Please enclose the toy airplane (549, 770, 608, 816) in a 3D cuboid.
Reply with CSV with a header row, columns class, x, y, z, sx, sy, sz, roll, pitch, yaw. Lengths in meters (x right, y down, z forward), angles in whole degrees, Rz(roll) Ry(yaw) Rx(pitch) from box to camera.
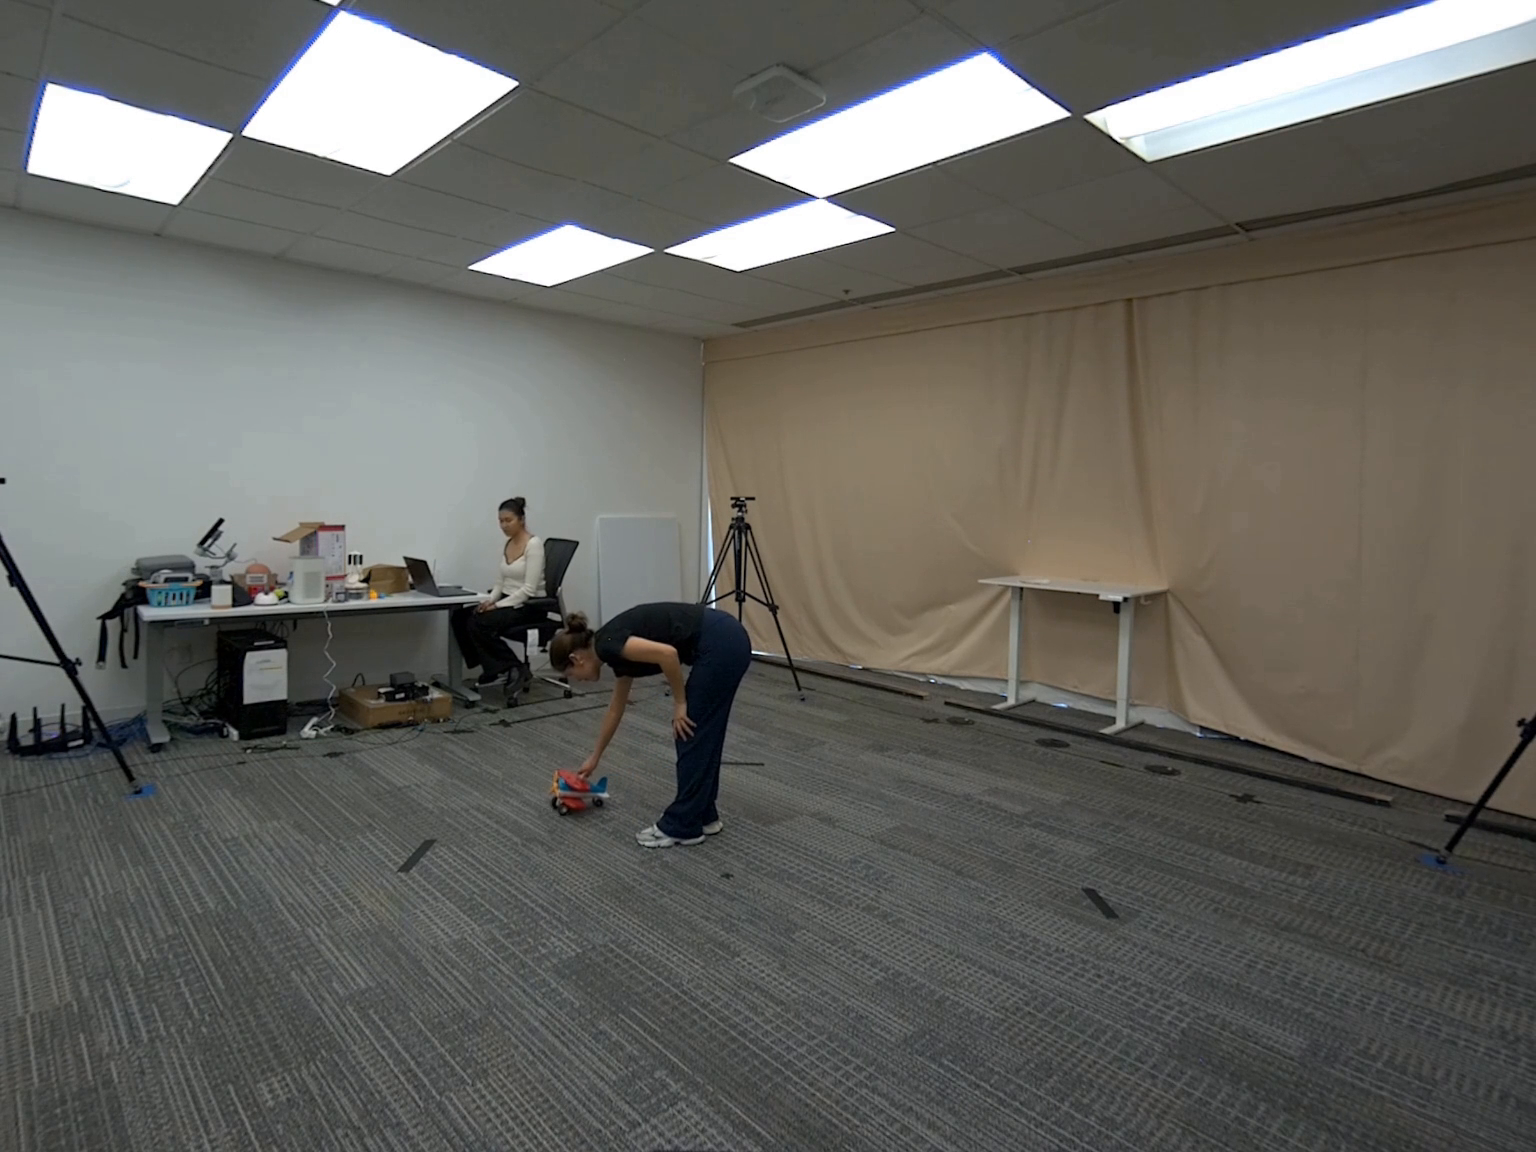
class,x,y,z,sx,sy,sz,roll,pitch,yaw
toy airplane,-0.852,0.953,3.747,0.257,0.156,0.255,6,8,29
